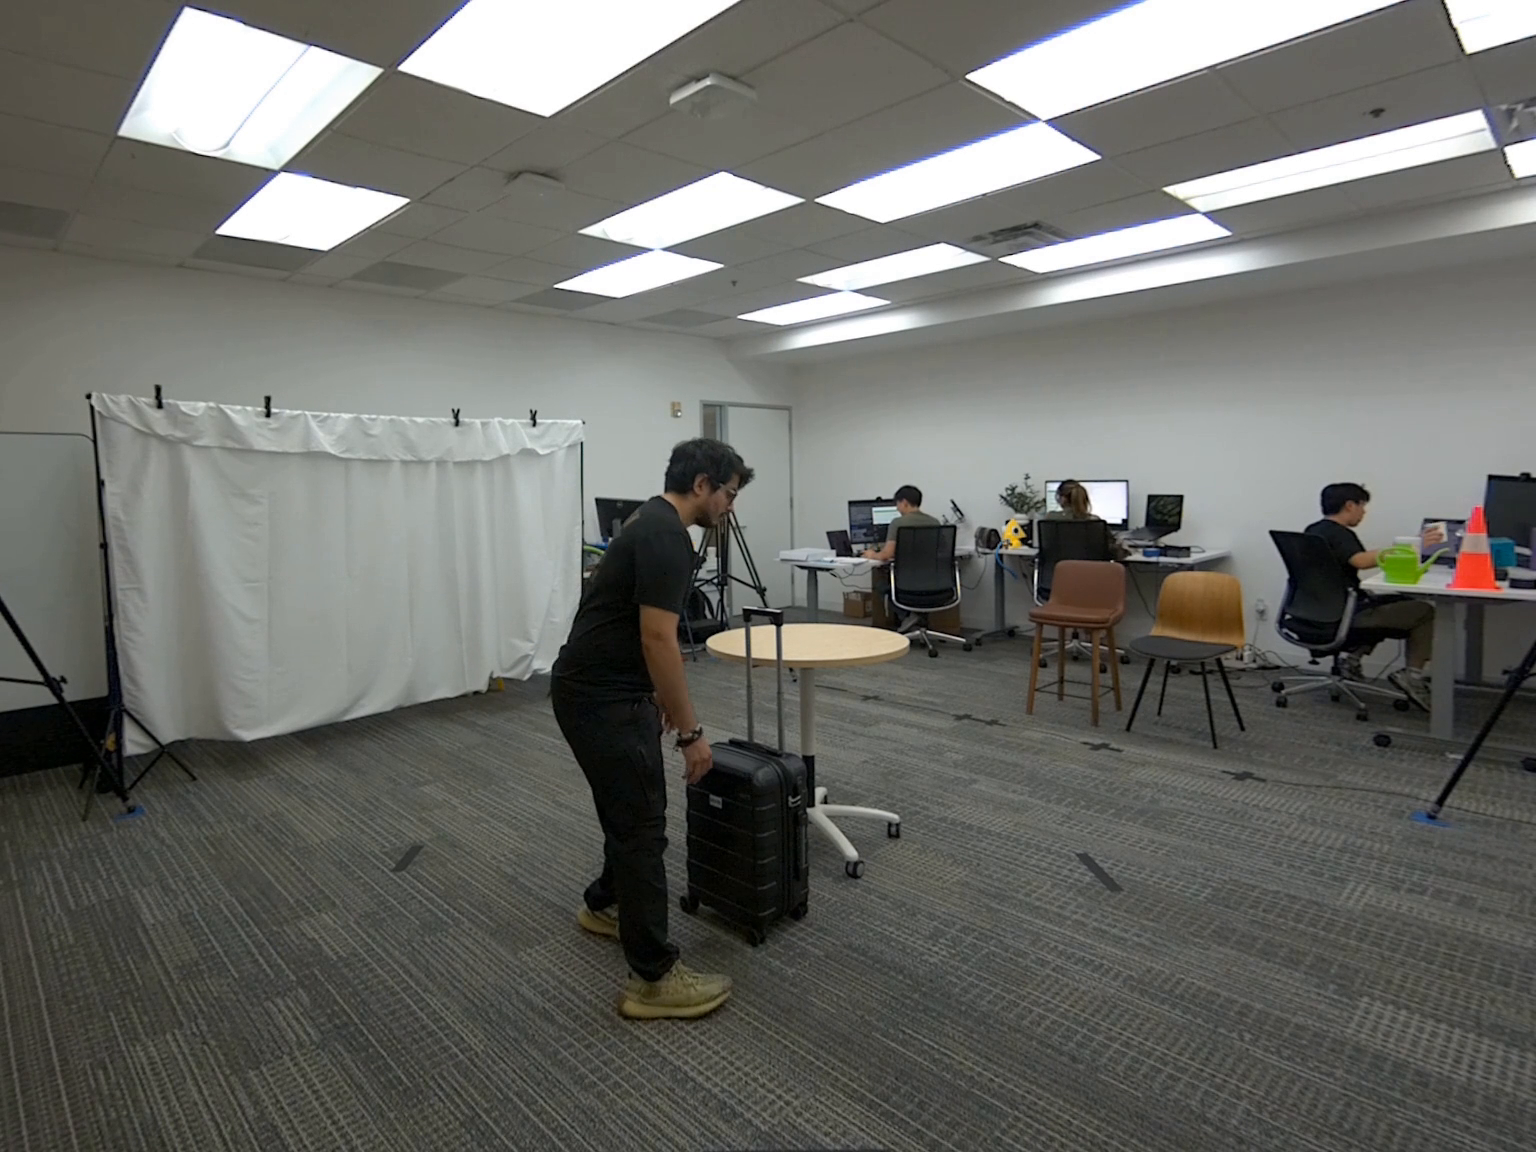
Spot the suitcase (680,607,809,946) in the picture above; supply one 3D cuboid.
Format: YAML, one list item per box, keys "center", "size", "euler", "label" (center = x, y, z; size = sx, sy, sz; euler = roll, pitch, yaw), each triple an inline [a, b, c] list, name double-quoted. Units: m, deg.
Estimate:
- center: [-0.069, 0.610, 2.704]
  size: [0.395, 0.973, 0.251]
  euler: [3, 8, 39]
  label: "suitcase"
